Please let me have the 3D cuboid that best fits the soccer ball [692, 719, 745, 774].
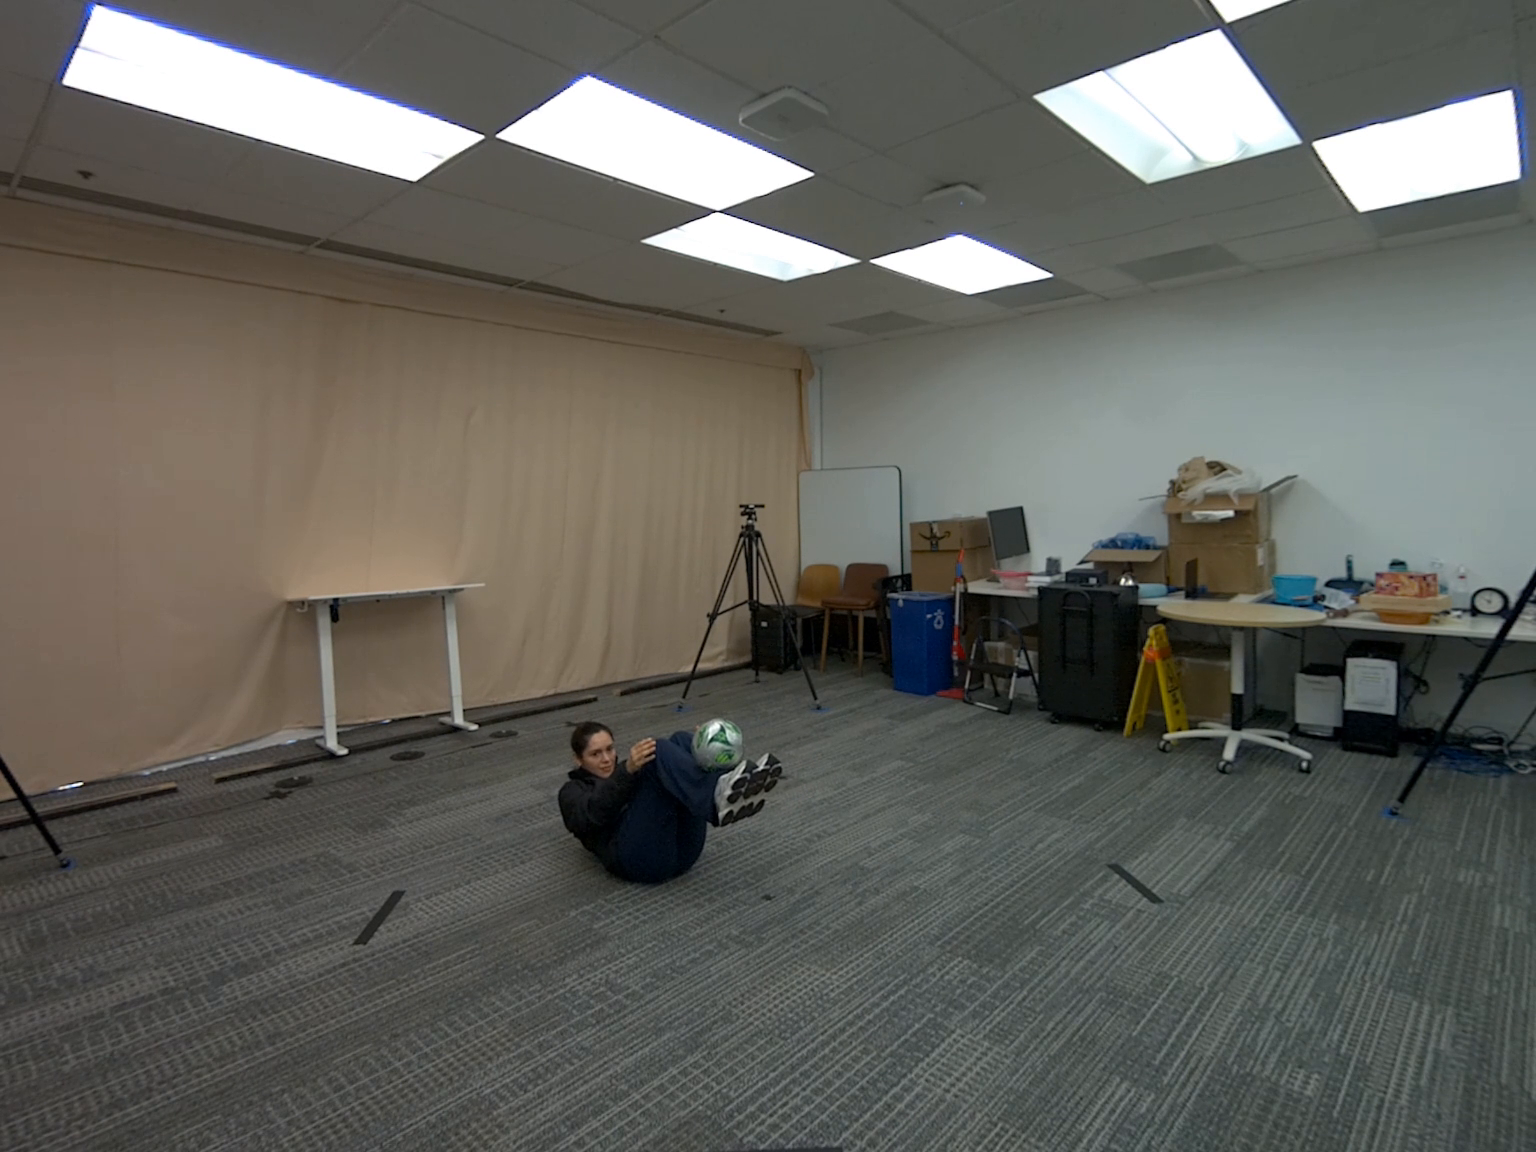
[{"bbox_3d":[-0.165,0.587,2.885,0.187,0.187,0.188,2,5,-2],"label":"soccer ball"}]
